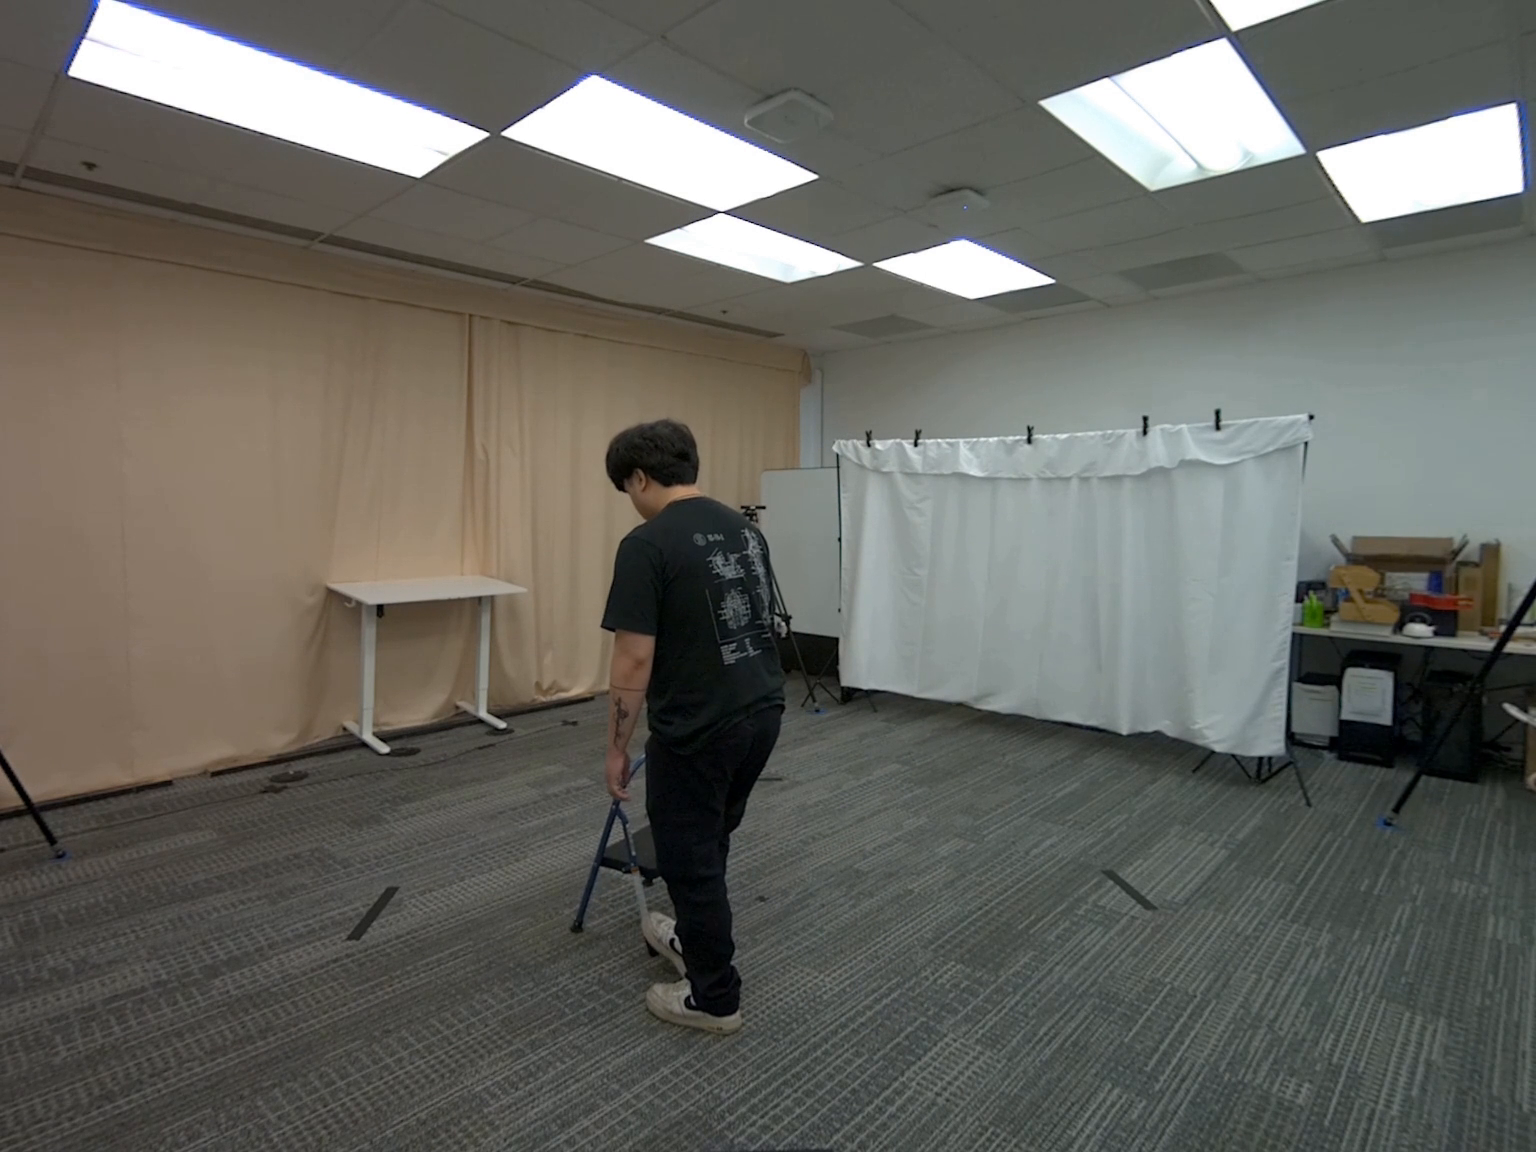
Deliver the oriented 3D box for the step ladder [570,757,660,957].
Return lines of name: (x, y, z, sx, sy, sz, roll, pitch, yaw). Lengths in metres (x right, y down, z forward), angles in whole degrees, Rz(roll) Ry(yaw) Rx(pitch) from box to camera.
step ladder: (-0.410, 0.856, 2.849, 0.359, 0.605, 0.419, 1, 4, 29)
